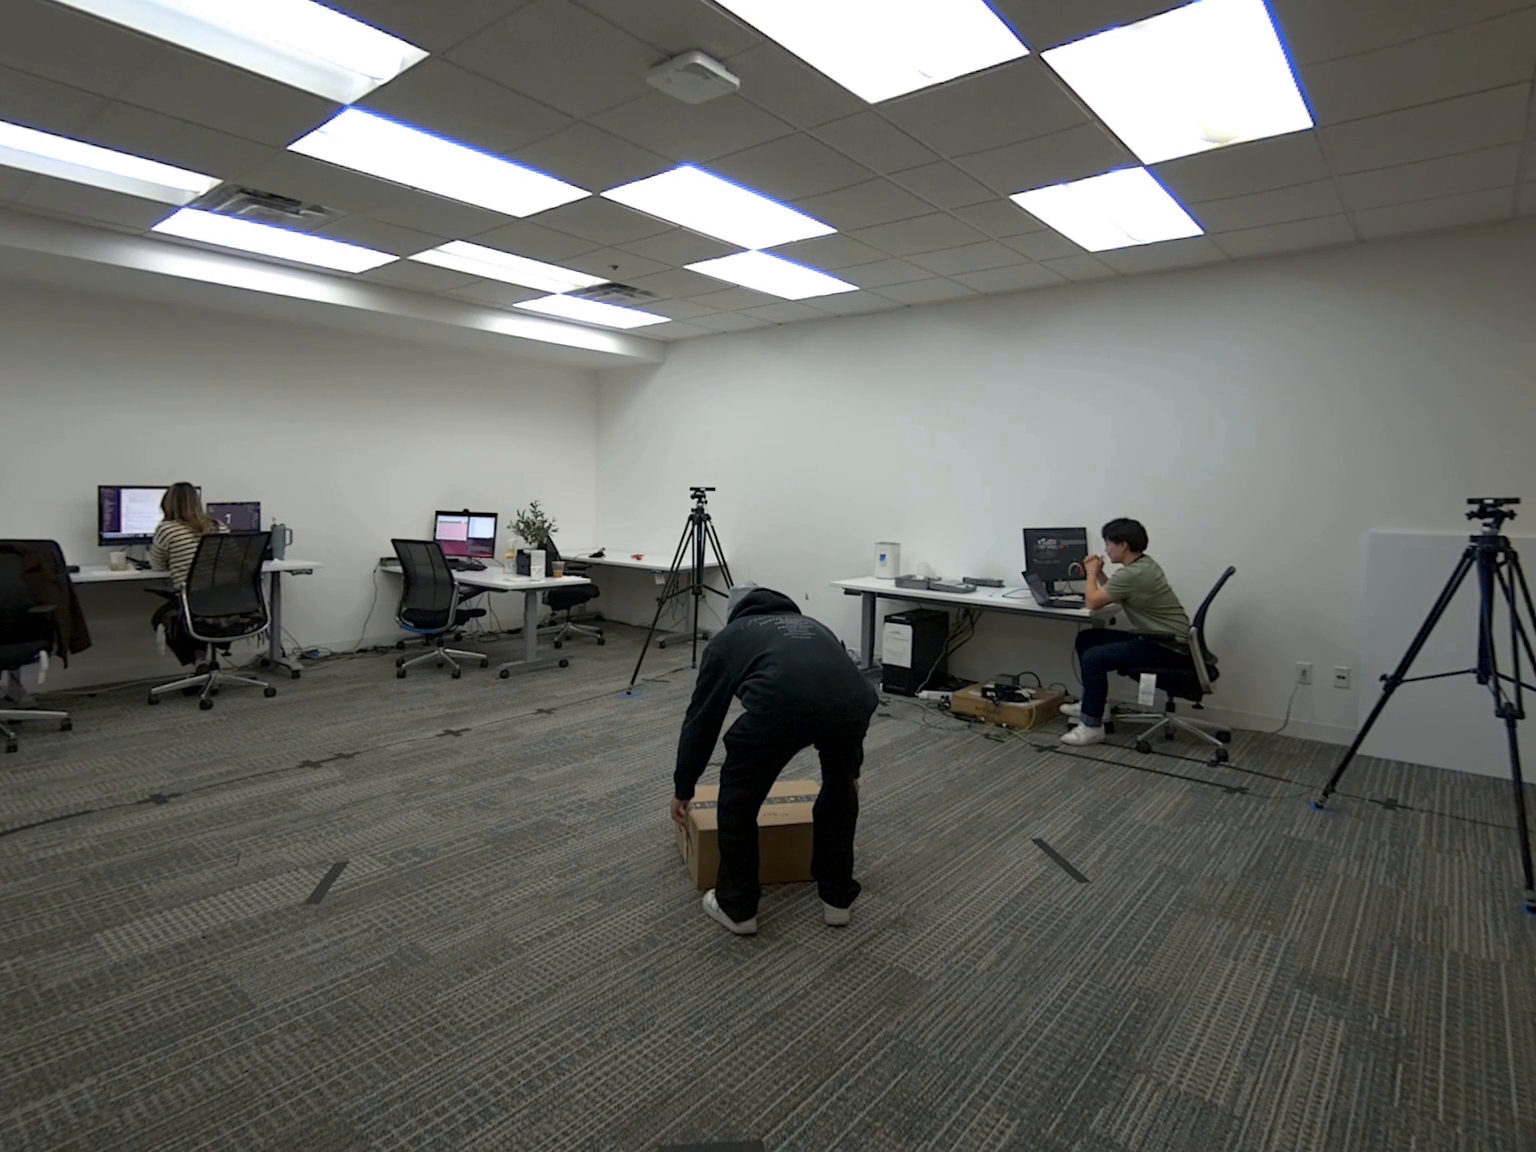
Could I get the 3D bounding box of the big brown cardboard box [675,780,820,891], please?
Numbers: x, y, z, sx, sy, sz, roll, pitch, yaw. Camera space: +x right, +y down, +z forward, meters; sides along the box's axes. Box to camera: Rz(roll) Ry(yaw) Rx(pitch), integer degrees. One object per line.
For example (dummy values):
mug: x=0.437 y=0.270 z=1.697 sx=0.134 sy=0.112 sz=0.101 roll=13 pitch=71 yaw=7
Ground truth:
big brown cardboard box: x=-0.039 y=0.952 z=3.190 sx=0.580 sy=0.232 sz=0.425 roll=1 pitch=6 yaw=-14
